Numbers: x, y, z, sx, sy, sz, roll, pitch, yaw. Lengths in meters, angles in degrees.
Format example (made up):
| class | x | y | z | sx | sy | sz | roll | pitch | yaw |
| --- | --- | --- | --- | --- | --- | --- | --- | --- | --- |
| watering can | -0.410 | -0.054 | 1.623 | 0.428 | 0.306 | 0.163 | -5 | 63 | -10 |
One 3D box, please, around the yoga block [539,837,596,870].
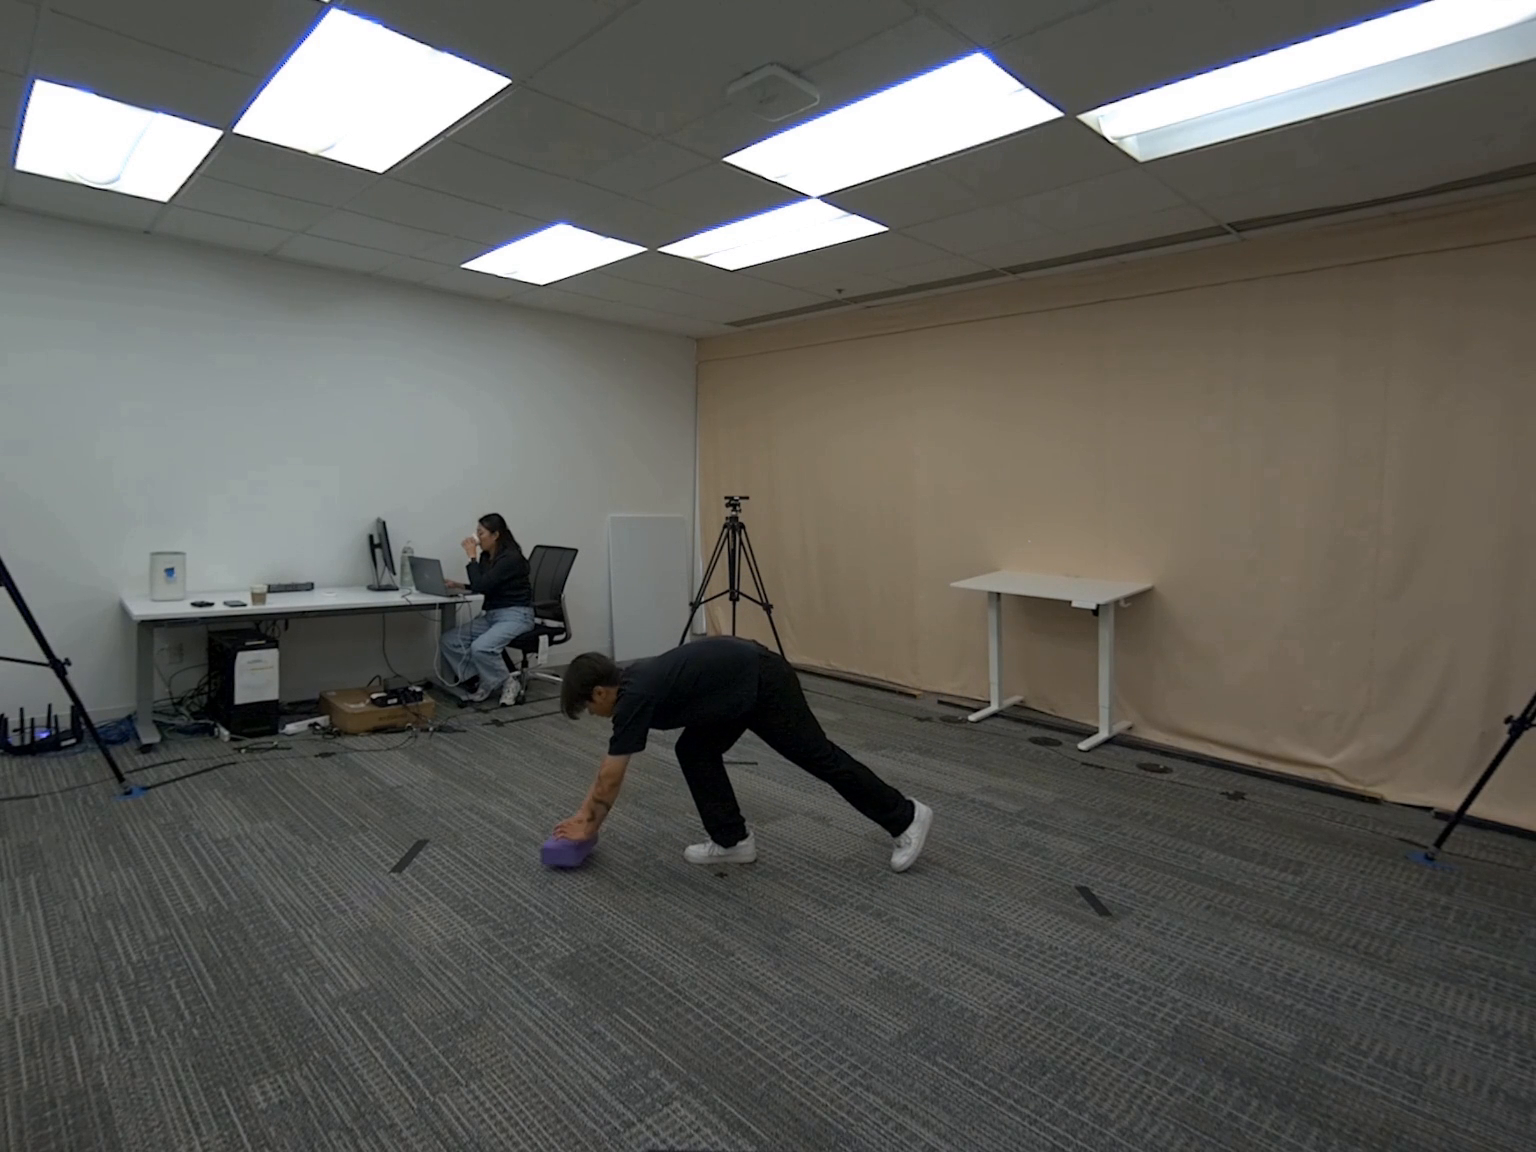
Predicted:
| class | x | y | z | sx | sy | sz | roll | pitch | yaw |
| --- | --- | --- | --- | --- | --- | --- | --- | --- | --- |
| yoga block | -0.746 | 1.015 | 3.192 | 0.150 | 0.076 | 0.228 | -1 | 6 | 11 |
